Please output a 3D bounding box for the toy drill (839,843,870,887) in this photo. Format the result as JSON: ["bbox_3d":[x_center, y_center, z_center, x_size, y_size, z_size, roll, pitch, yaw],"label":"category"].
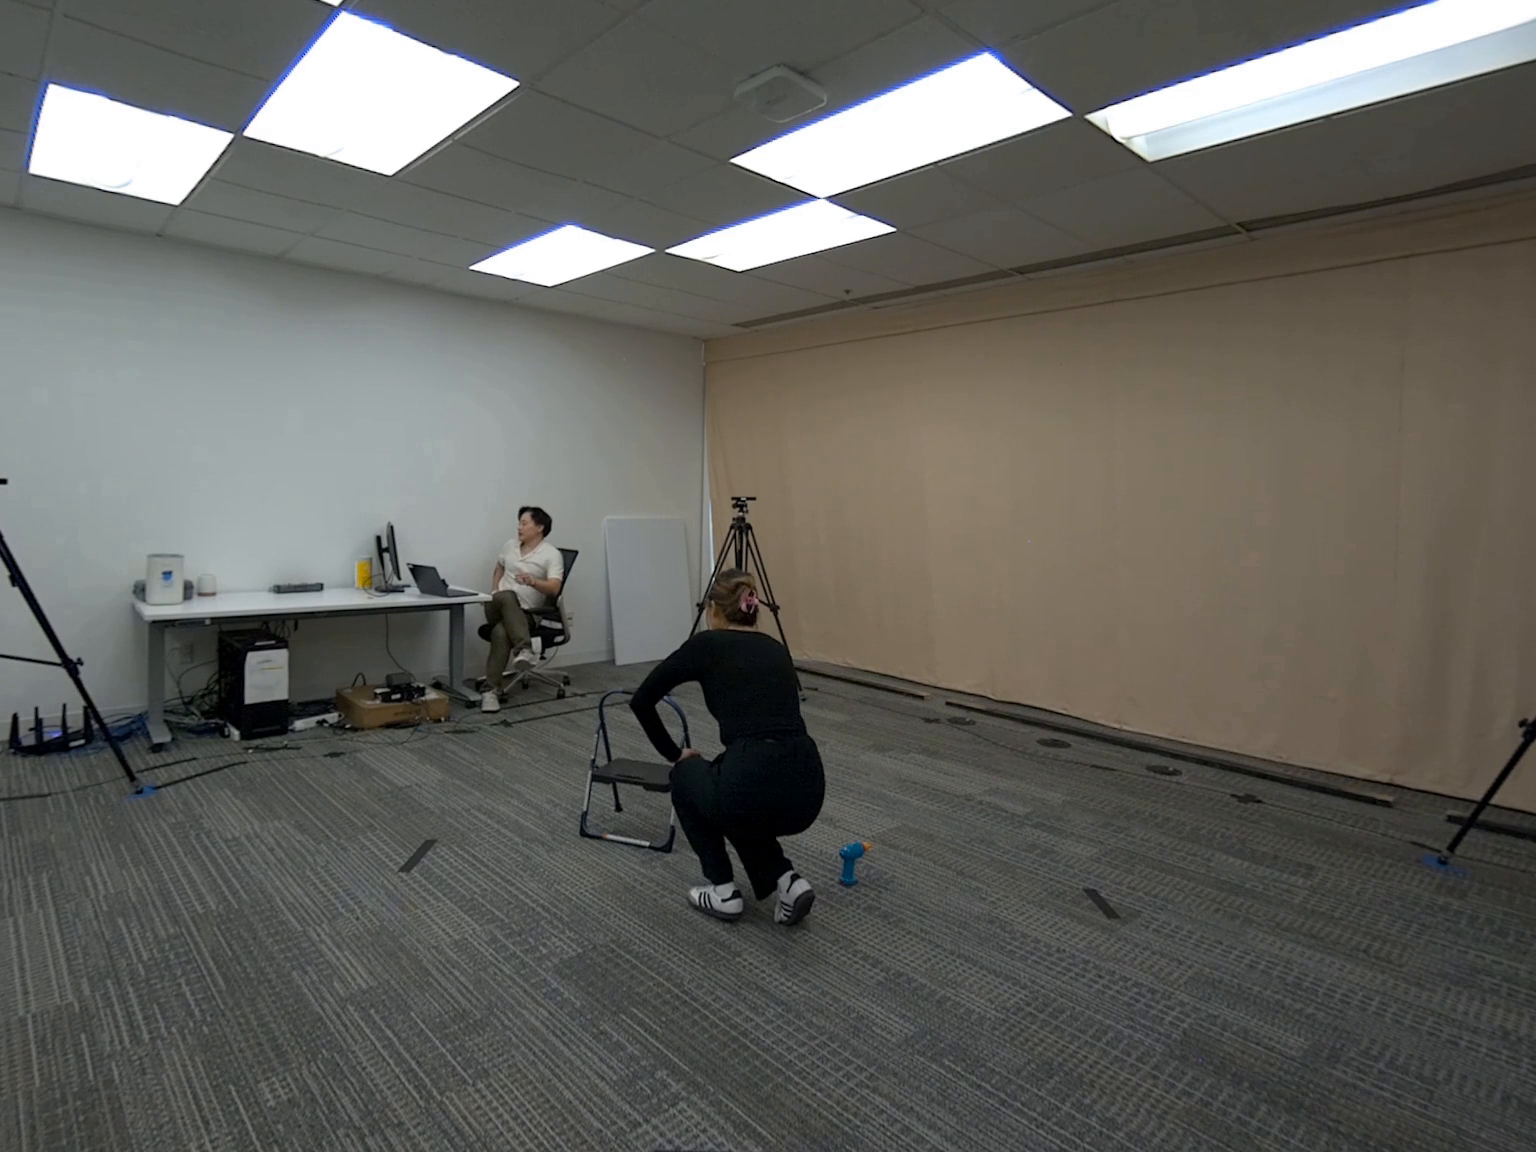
[{"bbox_3d":[0.313,1.044,3.088,0.166,0.146,0.063,1,2,-41],"label":"toy drill"}]
